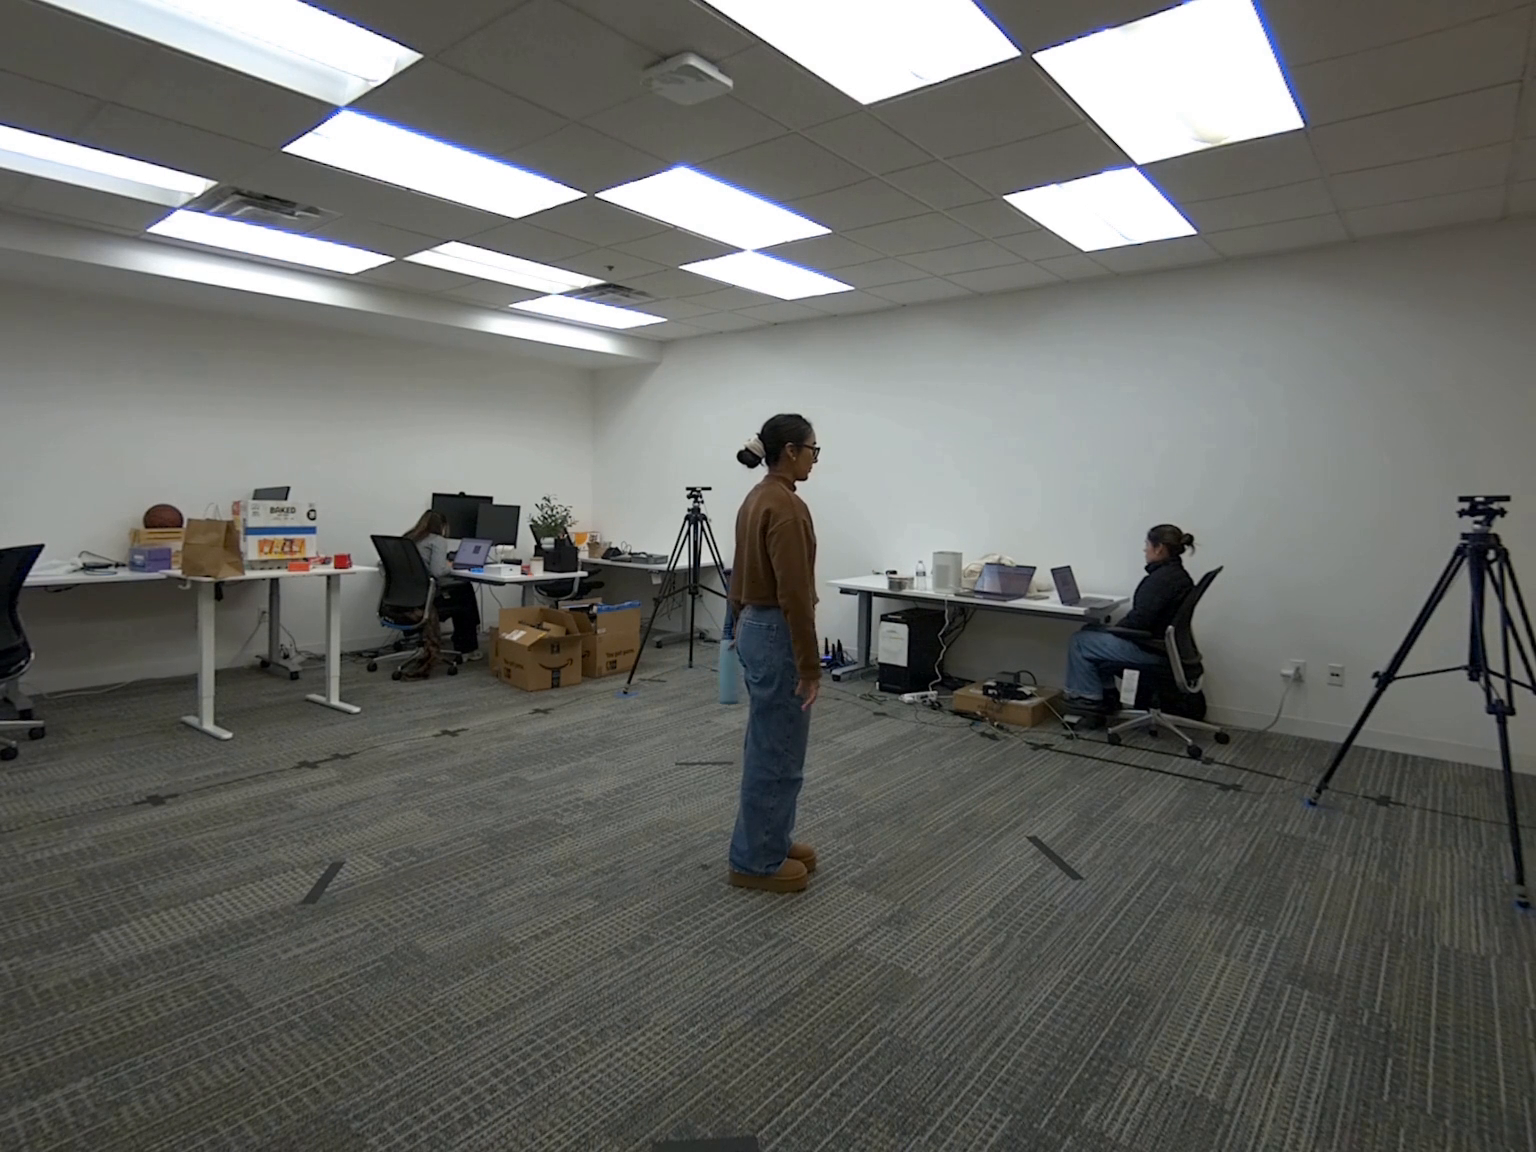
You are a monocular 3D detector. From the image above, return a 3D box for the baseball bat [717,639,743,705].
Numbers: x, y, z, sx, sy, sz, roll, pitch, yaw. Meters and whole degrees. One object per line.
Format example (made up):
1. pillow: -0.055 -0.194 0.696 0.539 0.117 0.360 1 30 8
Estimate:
1. baseball bat: -0.144 0.233 3.379 0.089 0.548 0.088 -2 -10 -2
